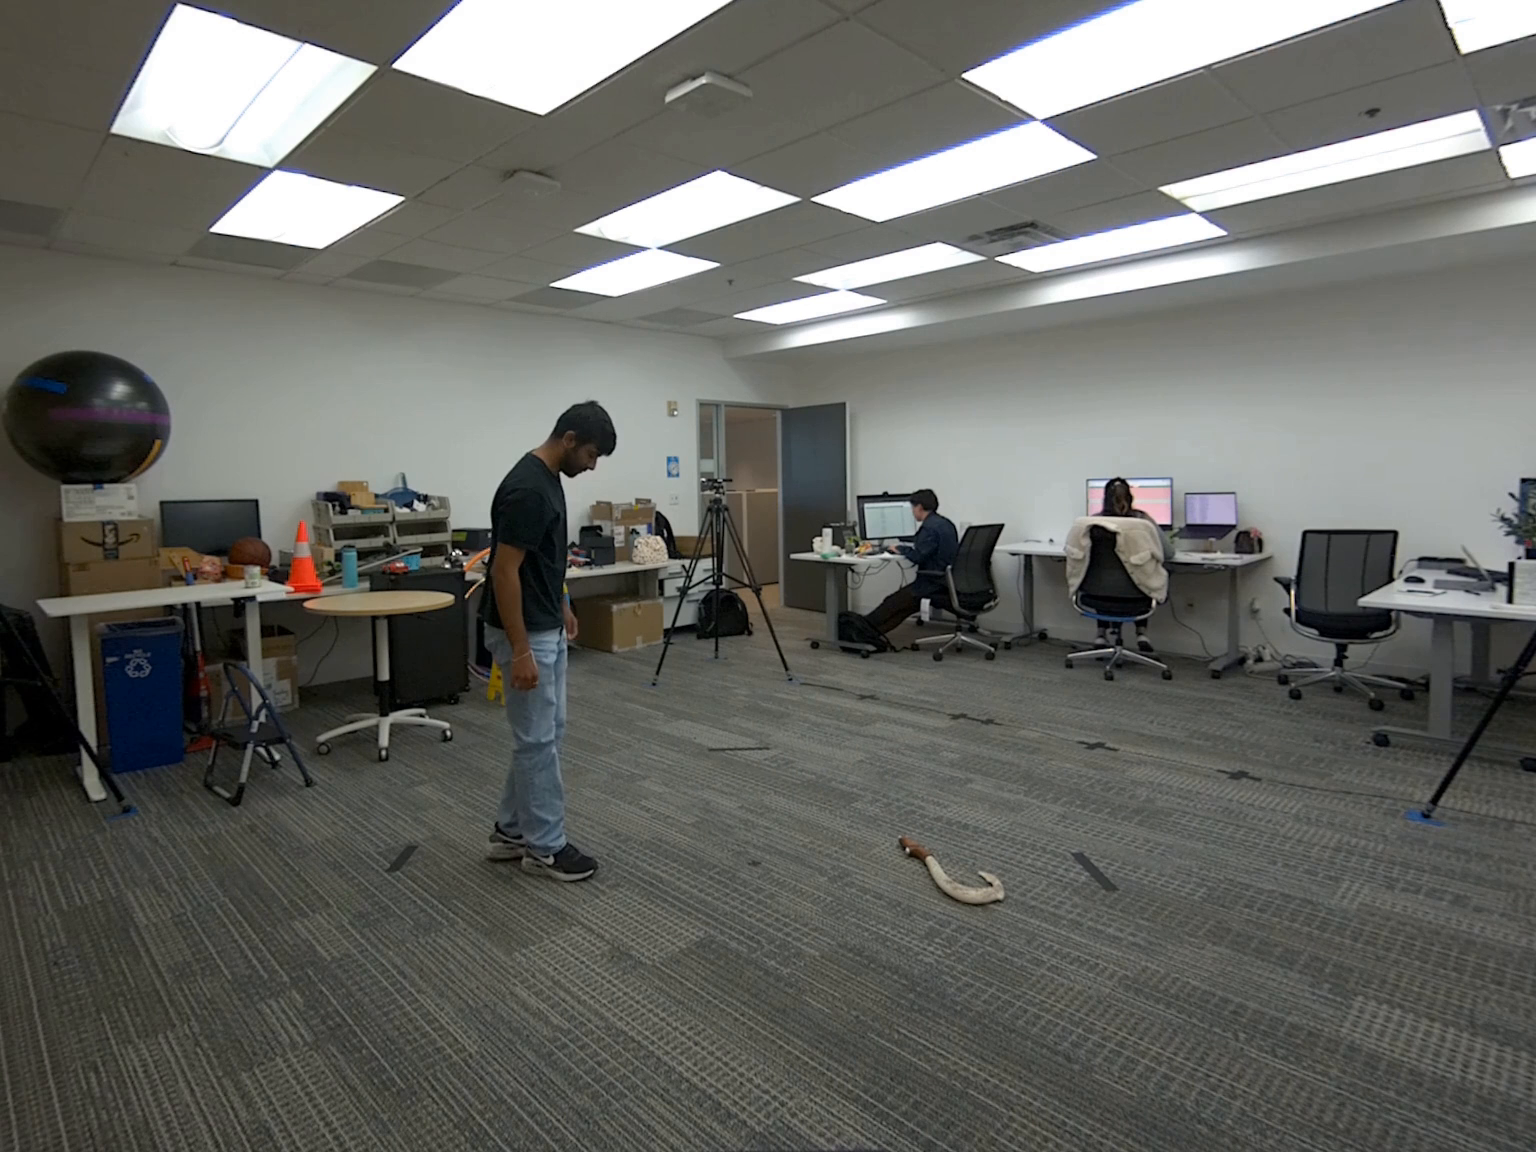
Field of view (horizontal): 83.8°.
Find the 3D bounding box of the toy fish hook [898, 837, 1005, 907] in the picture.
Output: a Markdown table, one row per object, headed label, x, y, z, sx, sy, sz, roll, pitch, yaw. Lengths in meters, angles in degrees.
| label | x | y | z | sx | sy | sz | roll | pitch | yaw |
| --- | --- | --- | --- | --- | --- | --- | --- | --- | --- |
| toy fish hook | 0.634 | 1.016 | 3.016 | 0.220 | 0.048 | 0.517 | 6 | 5 | -20 |
